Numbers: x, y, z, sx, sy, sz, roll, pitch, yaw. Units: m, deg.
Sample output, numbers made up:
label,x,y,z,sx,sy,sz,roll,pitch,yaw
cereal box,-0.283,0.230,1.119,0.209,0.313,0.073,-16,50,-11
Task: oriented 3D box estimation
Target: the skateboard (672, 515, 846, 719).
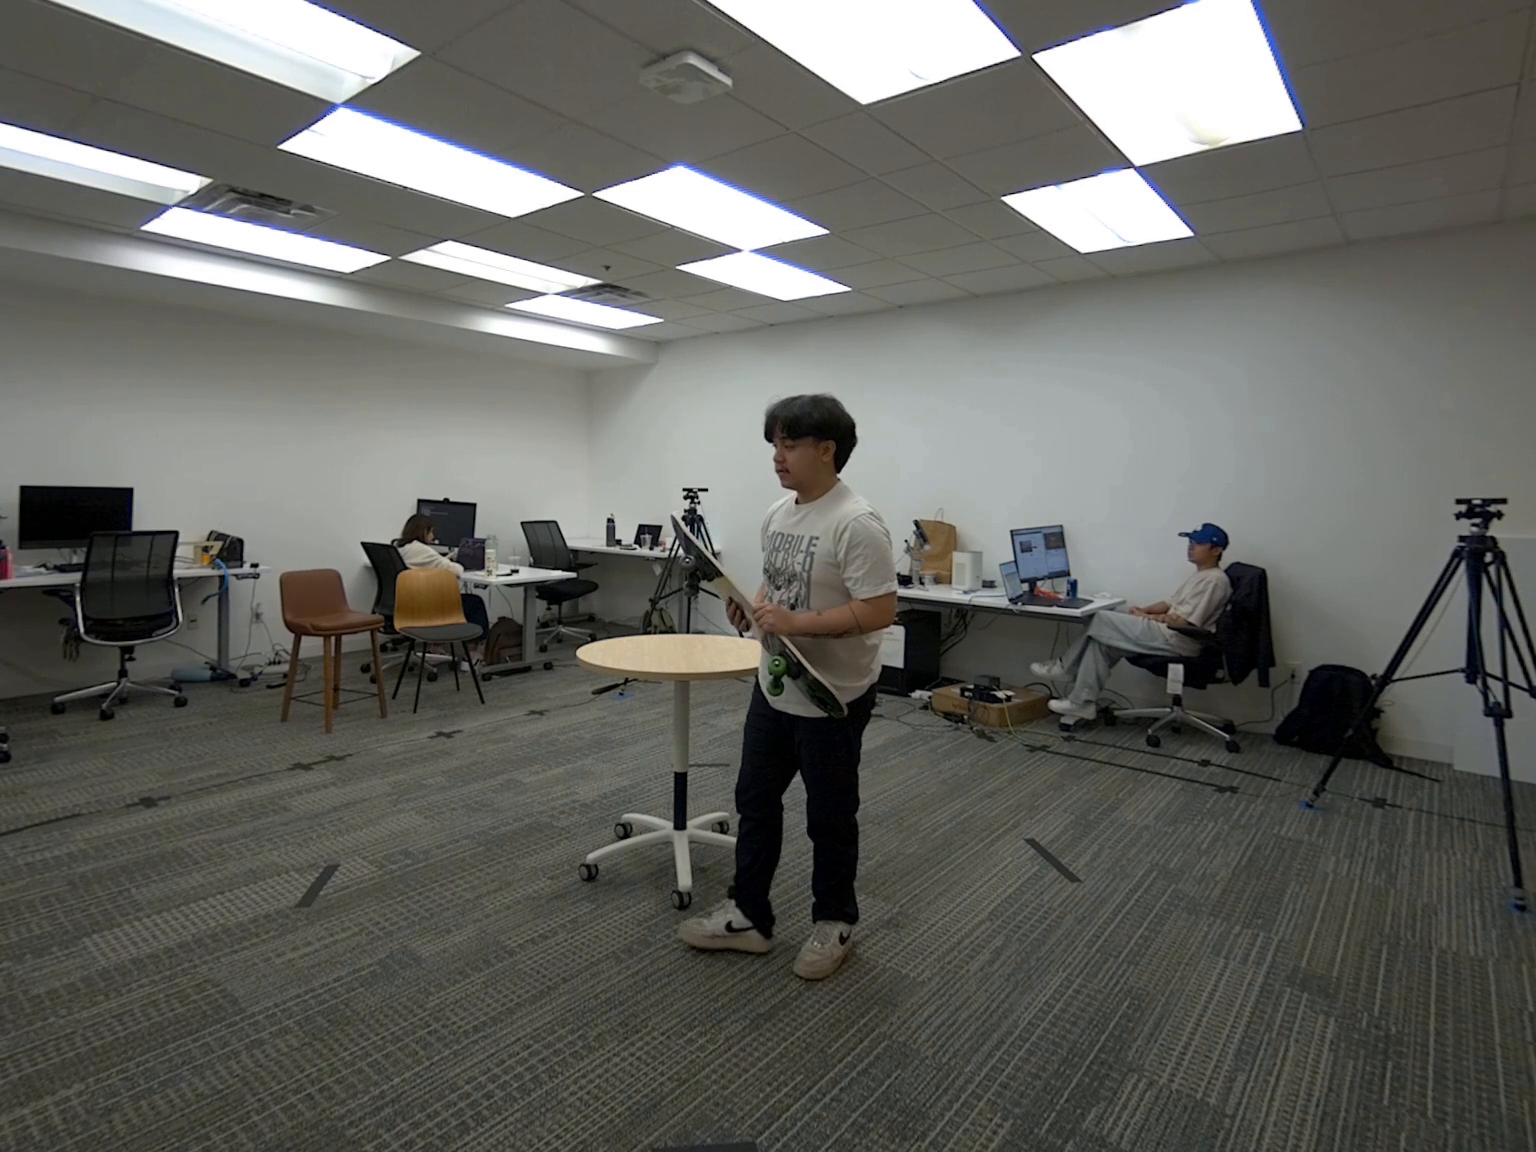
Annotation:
label,x,y,z,sx,sy,sz,roll,pitch,yaw
skateboard,-0.097,0.124,2.421,0.109,0.811,0.188,-34,-25,-20
